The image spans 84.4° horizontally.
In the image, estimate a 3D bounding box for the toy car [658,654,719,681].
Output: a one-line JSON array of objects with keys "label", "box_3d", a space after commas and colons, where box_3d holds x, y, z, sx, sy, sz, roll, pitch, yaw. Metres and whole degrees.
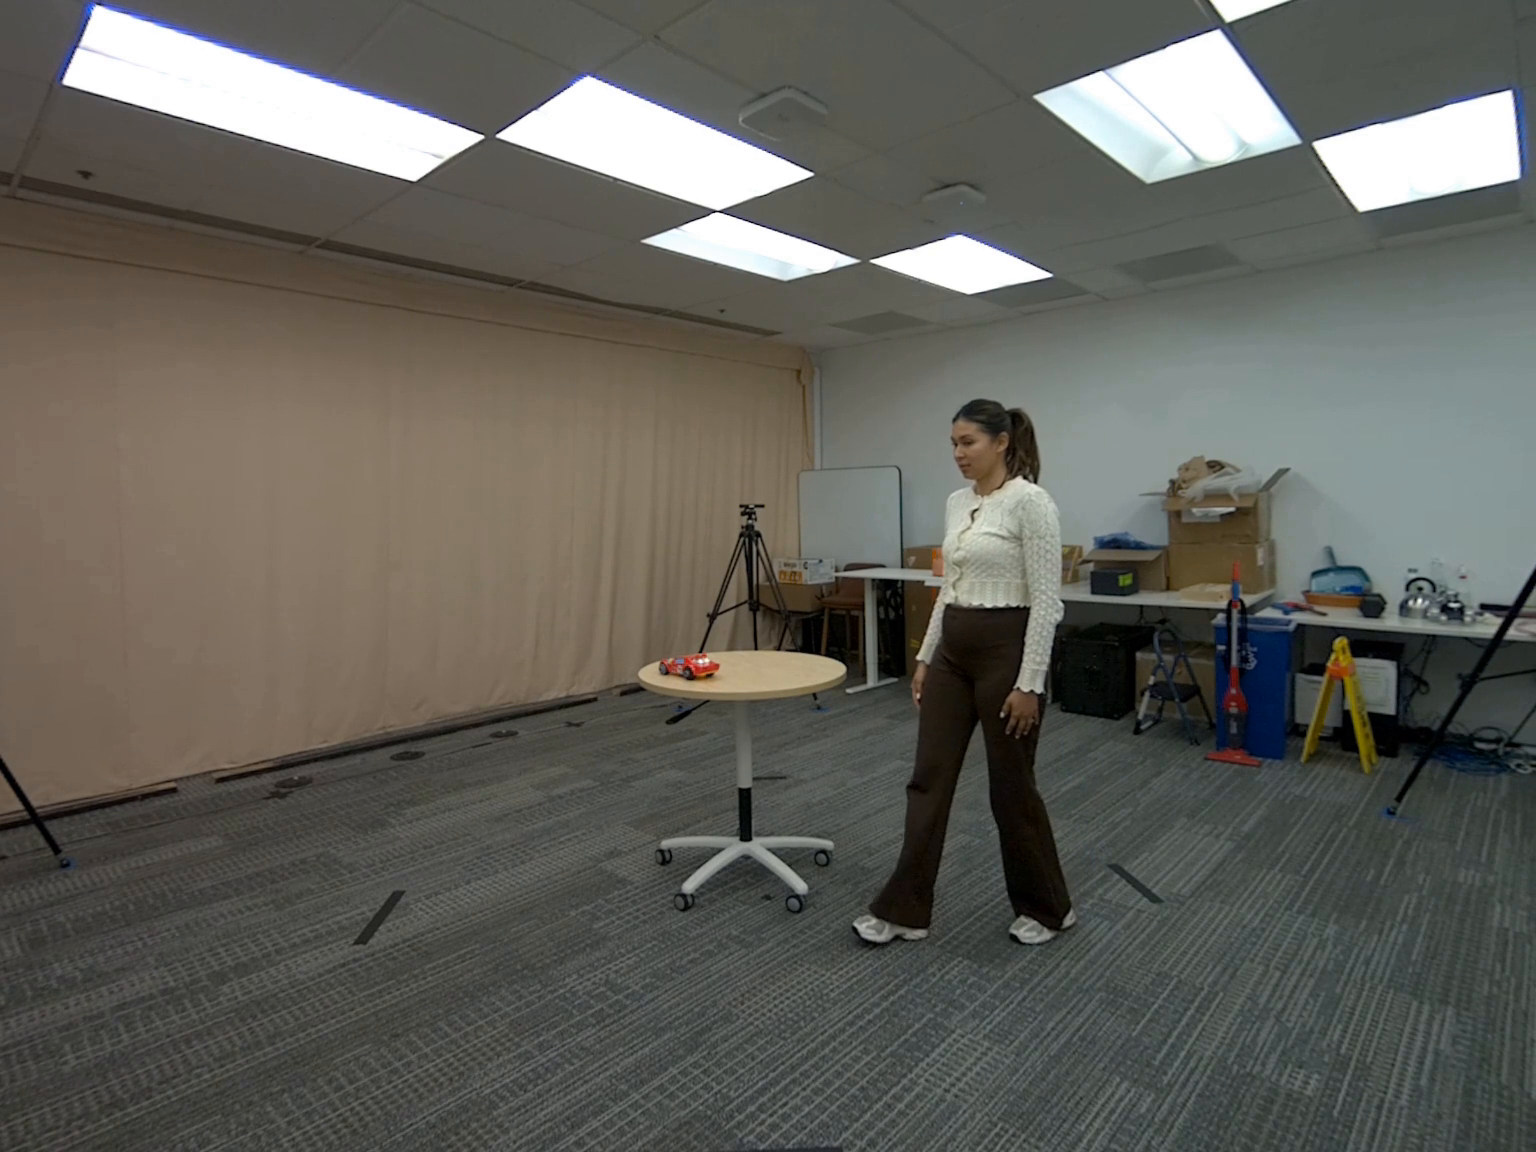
[{"label": "toy car", "box_3d": [-0.279, 0.330, 3.012, 0.126, 0.083, 0.261, -6, -4, -42]}]
